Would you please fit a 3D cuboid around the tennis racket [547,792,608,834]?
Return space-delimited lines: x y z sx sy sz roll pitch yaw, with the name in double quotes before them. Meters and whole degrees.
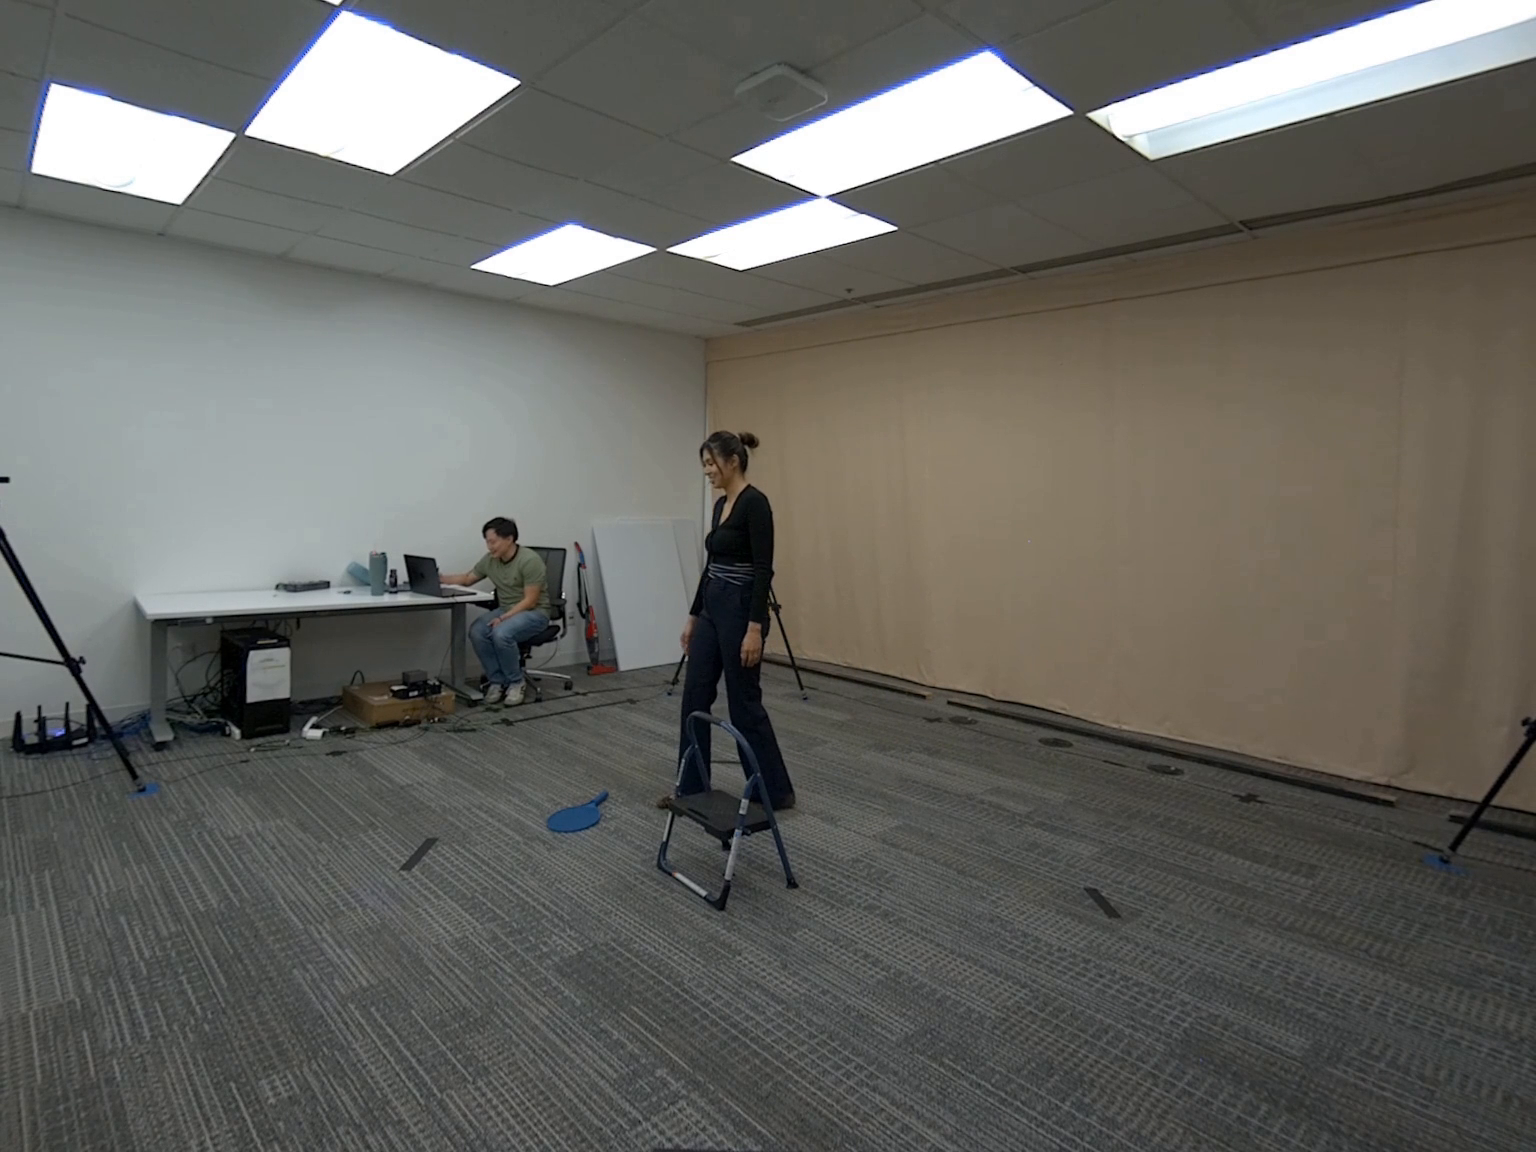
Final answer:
"tennis racket" -0.812 1.024 3.661 0.216 0.031 0.429 2 6 14
